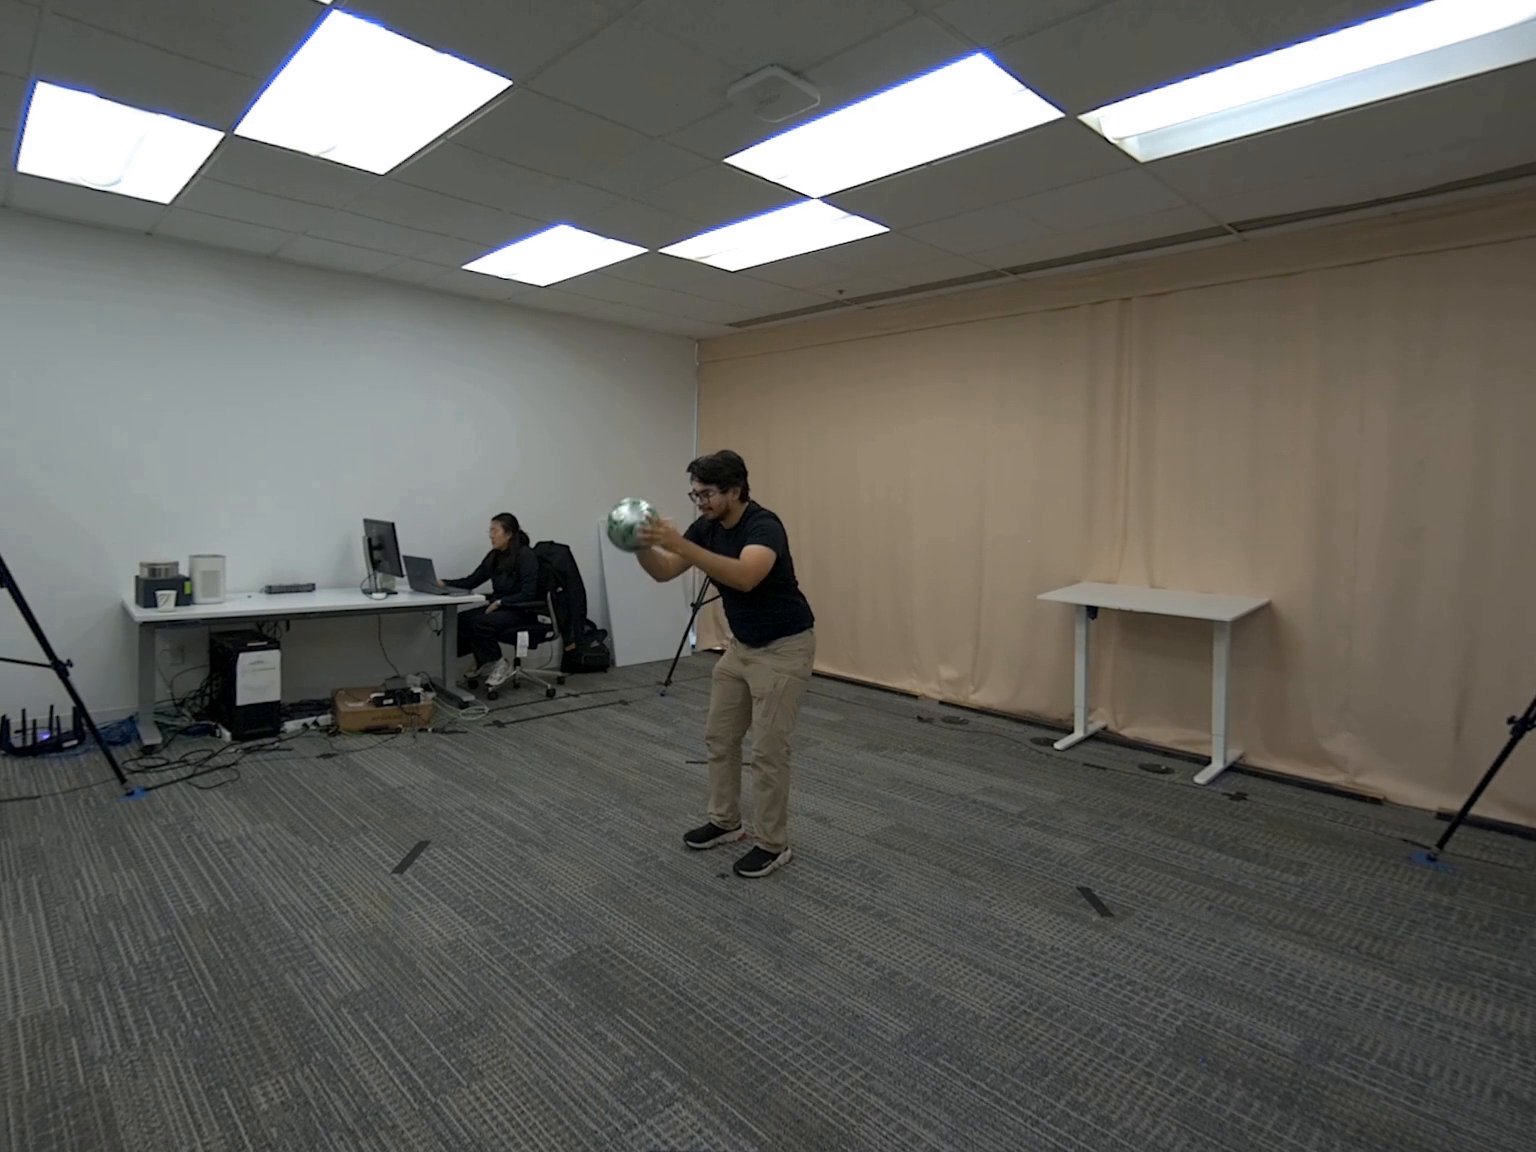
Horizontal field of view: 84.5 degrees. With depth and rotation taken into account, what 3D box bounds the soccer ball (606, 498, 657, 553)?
[{"bbox_3d":[-0.455,-0.182,2.884,0.187,0.187,0.188,1,4,-1],"label":"soccer ball"}]
